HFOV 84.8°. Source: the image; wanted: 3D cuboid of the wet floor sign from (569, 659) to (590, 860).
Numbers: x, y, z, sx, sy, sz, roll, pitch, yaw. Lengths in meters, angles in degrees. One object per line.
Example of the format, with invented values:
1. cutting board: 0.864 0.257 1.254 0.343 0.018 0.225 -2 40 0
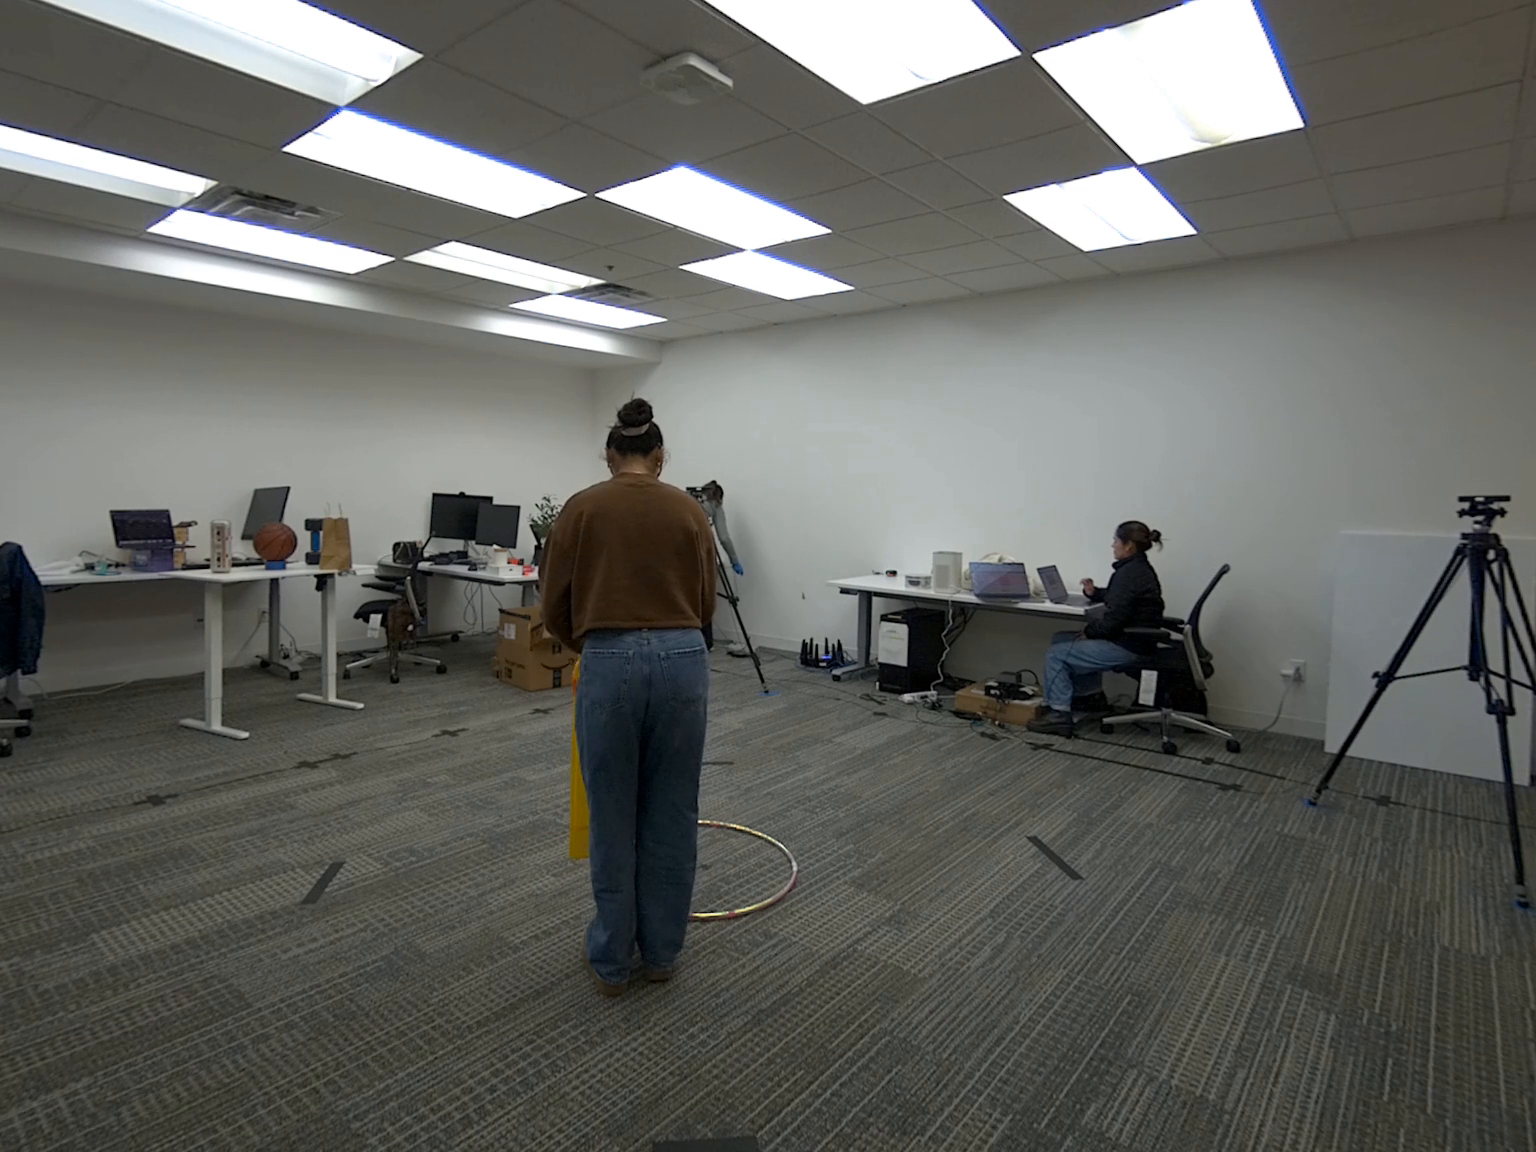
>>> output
1. wet floor sign: -0.499 0.506 2.664 0.280 0.642 0.294 2 6 -8
